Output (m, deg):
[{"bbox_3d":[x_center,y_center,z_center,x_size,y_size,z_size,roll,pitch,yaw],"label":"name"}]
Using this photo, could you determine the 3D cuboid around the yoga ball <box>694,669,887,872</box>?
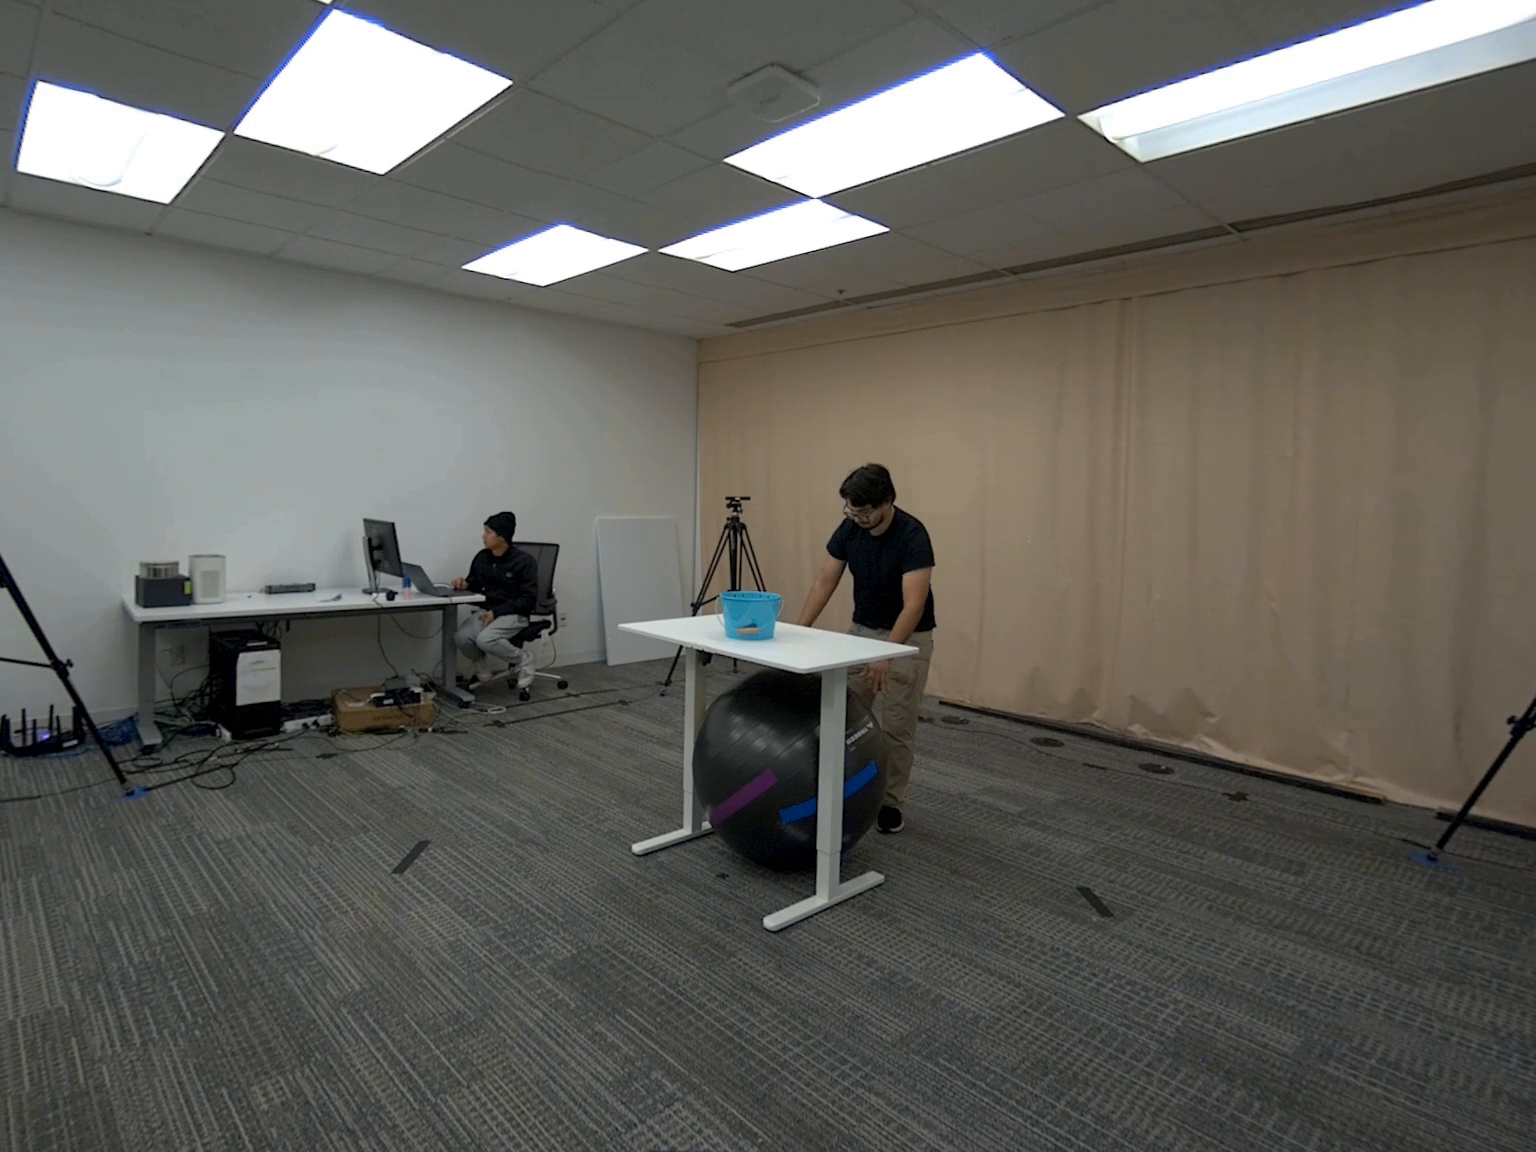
[{"bbox_3d":[0.089,0.740,3.276,0.757,0.756,0.761,1,4,-1],"label":"yoga ball"}]
